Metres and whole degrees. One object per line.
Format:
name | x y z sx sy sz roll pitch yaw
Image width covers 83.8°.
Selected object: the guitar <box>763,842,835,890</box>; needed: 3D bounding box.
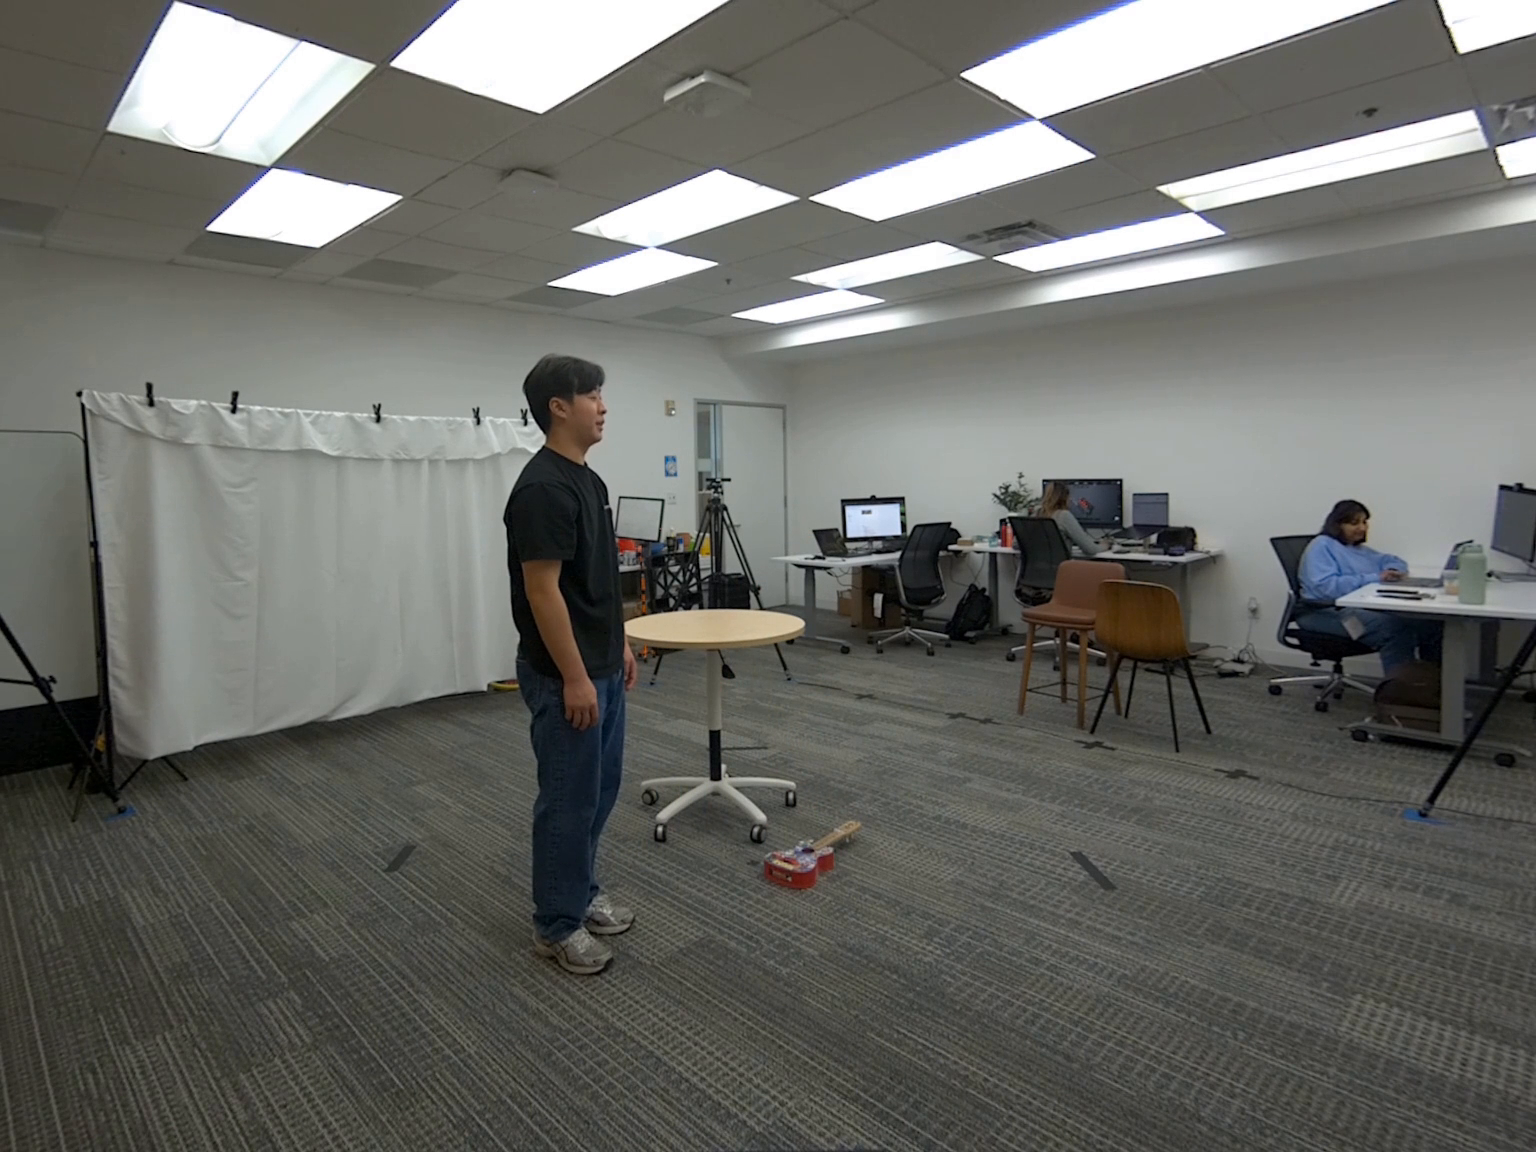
guitar | 0.215 1.005 3.100 0.485 0.070 0.199 -7 8 -41
